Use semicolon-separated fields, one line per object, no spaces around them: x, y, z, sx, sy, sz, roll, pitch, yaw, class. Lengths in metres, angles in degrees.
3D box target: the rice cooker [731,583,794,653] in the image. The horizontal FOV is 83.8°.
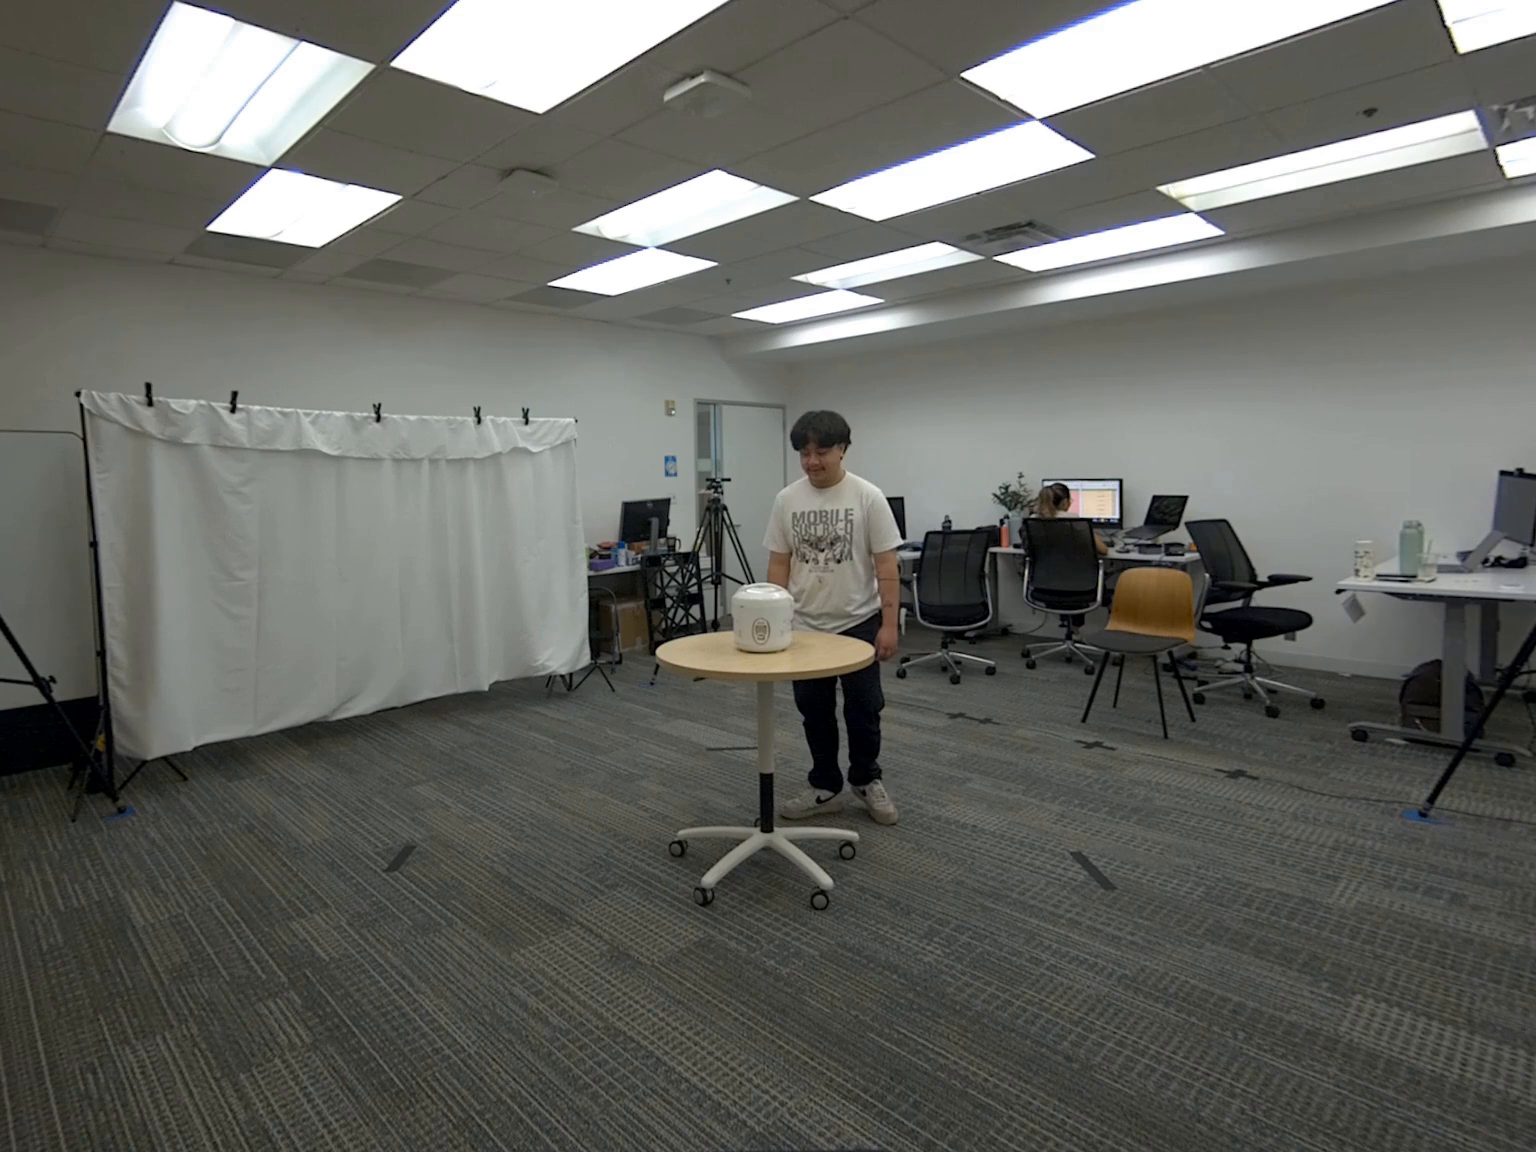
-0.015;0.140;2.994;0.221;0.232;0.217;-1;5;4;rice cooker
